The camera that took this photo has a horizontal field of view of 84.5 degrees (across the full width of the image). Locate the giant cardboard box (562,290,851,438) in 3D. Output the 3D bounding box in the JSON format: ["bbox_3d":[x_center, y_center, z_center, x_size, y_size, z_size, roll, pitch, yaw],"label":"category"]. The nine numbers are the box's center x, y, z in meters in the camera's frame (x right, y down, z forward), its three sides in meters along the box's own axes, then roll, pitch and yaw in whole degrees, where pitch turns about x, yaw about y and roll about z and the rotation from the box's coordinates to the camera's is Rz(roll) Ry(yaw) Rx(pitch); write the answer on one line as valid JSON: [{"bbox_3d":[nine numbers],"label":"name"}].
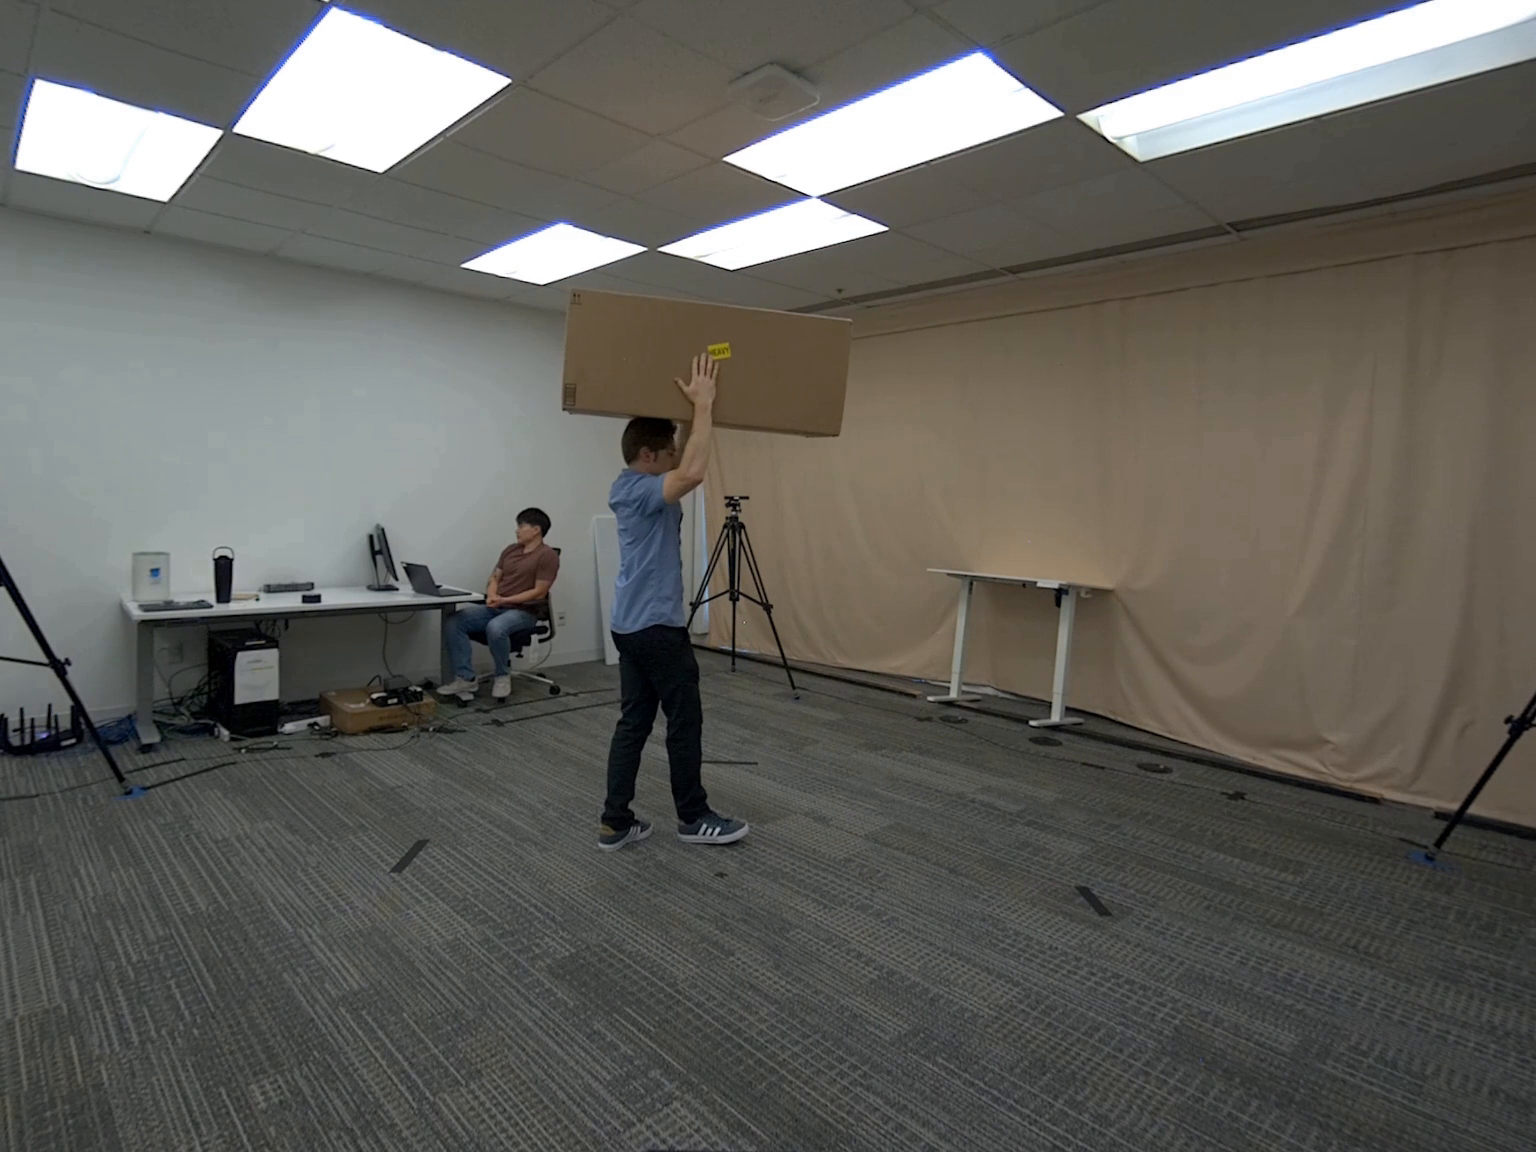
[{"bbox_3d":[-0.263,-0.807,3.294,1.019,0.424,0.584,5,8,-8],"label":"giant cardboard box"}]
